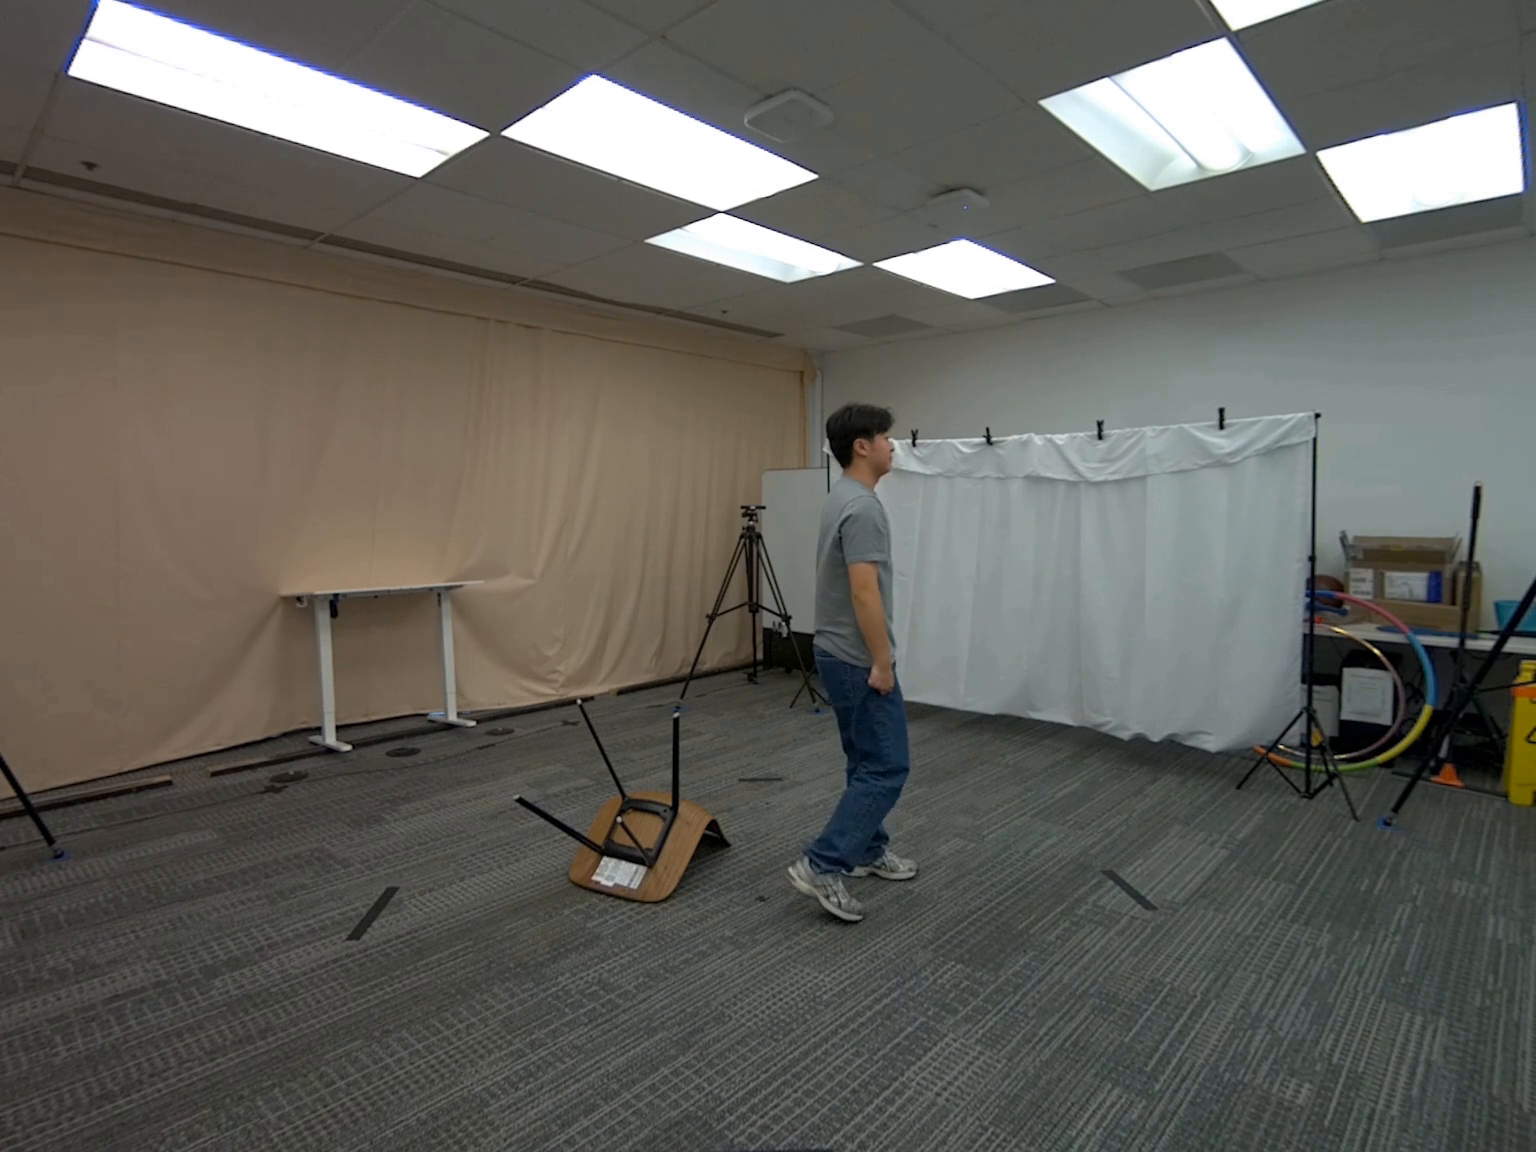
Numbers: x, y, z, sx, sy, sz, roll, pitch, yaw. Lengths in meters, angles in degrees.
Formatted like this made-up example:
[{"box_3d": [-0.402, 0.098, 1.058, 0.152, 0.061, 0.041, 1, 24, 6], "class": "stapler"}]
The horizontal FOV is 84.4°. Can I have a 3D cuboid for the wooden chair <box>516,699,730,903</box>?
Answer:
[{"box_3d": [-0.497, 0.964, 3.178, 0.491, 0.852, 0.524, 1, 44, 27], "class": "wooden chair"}]
